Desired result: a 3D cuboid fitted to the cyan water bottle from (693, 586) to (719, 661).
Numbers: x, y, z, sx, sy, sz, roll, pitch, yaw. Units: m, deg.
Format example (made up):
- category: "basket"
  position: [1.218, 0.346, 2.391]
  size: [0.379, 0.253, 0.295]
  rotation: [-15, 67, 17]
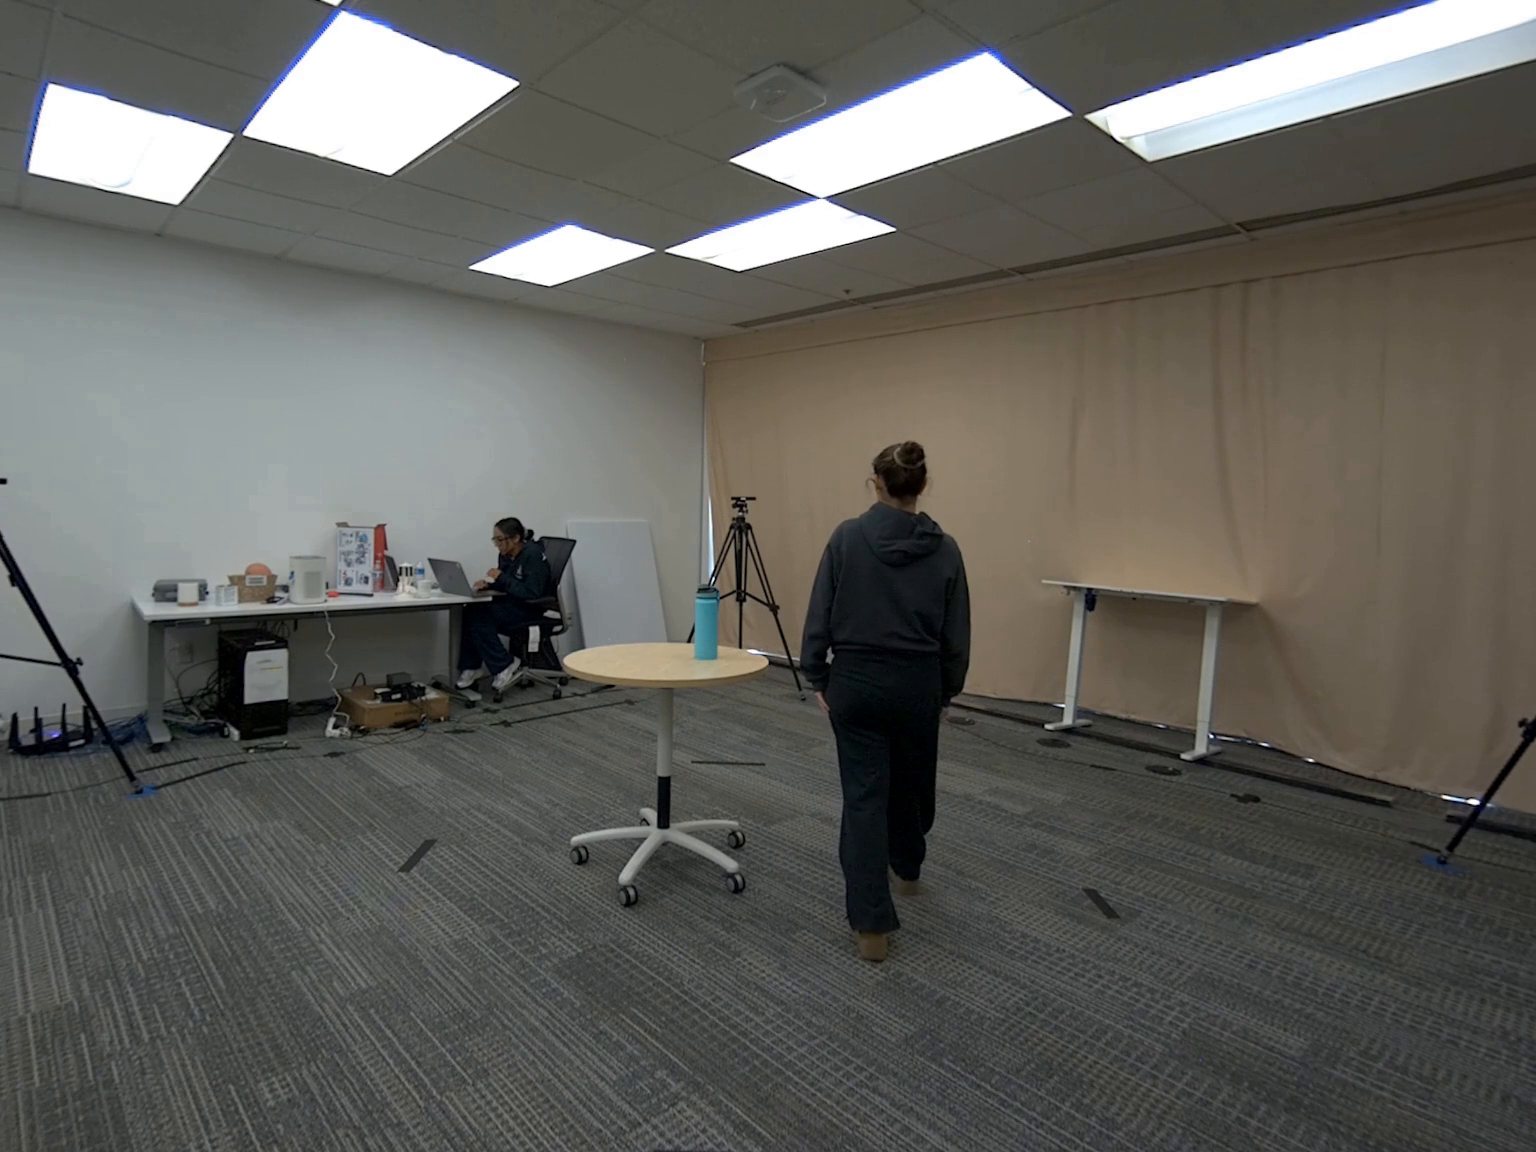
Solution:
- category: "cyan water bottle"
  position: [-0.239, 0.173, 3.210]
  size: [0.092, 0.283, 0.092]
  rotation: [3, 3, -2]
